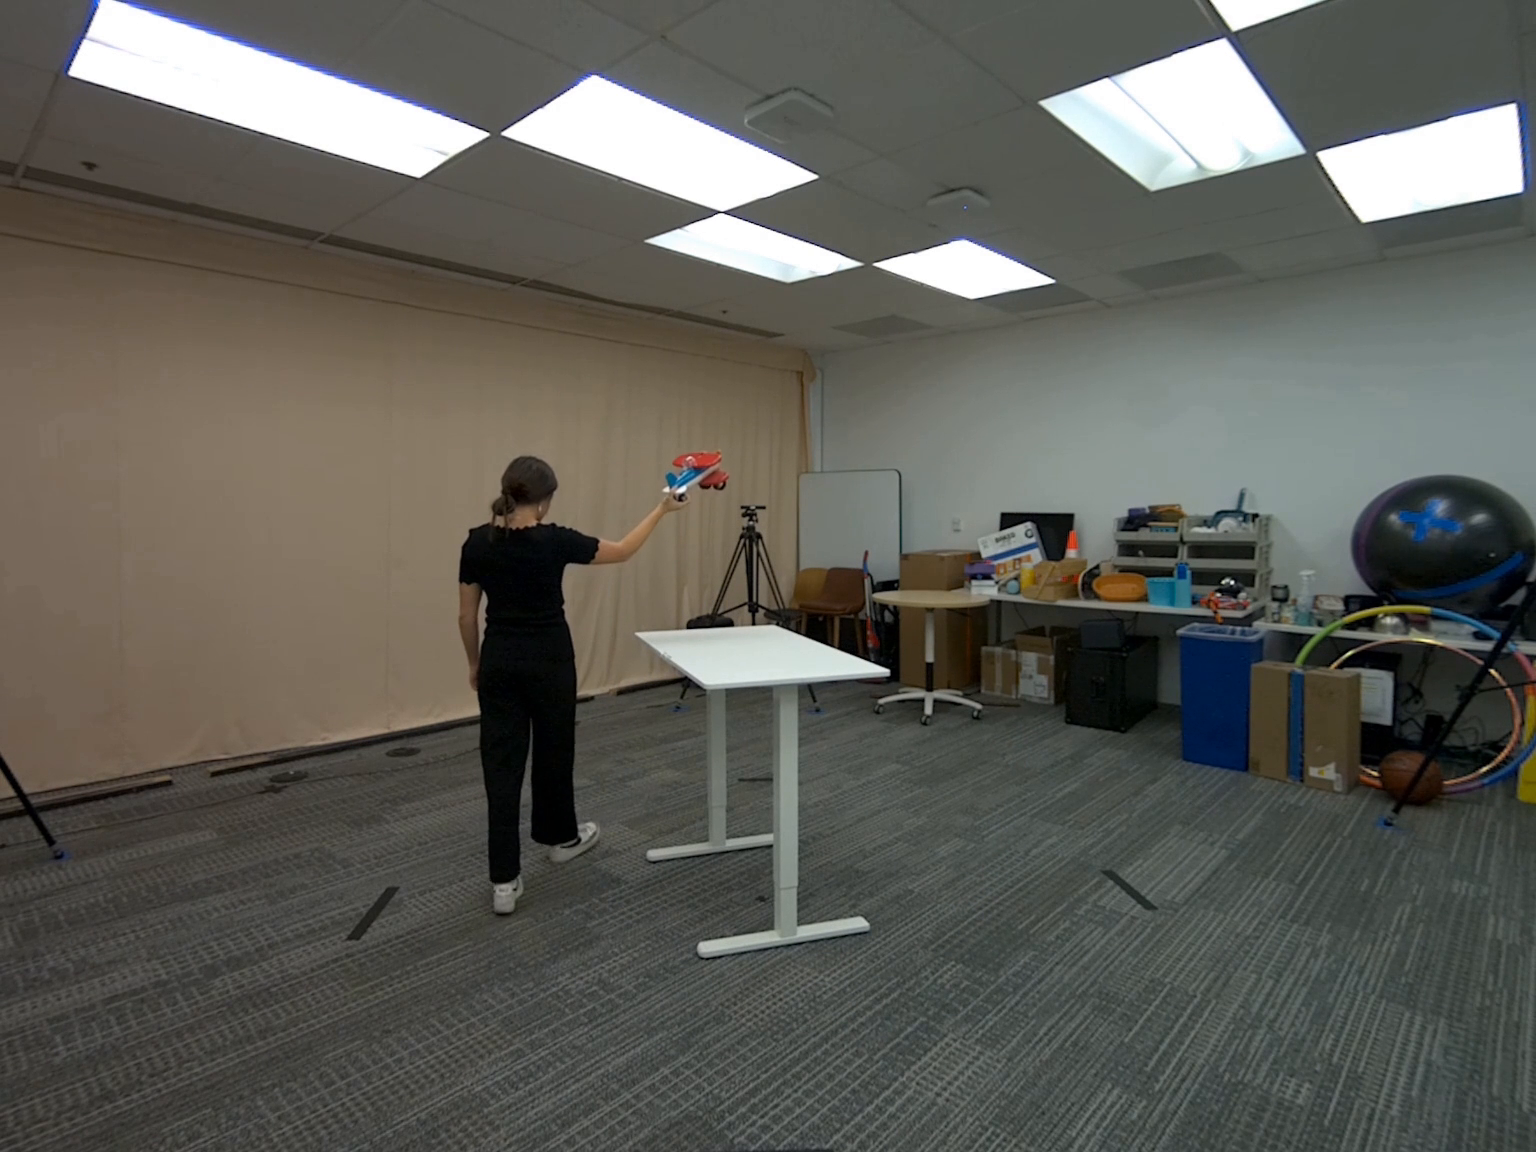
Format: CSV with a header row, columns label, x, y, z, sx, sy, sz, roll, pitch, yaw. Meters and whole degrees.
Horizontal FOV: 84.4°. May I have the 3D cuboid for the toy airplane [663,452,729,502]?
label,x,y,z,sx,sy,sz,roll,pitch,yaw
toy airplane,-0.274,-0.387,3.281,0.256,0.154,0.257,-4,19,20
